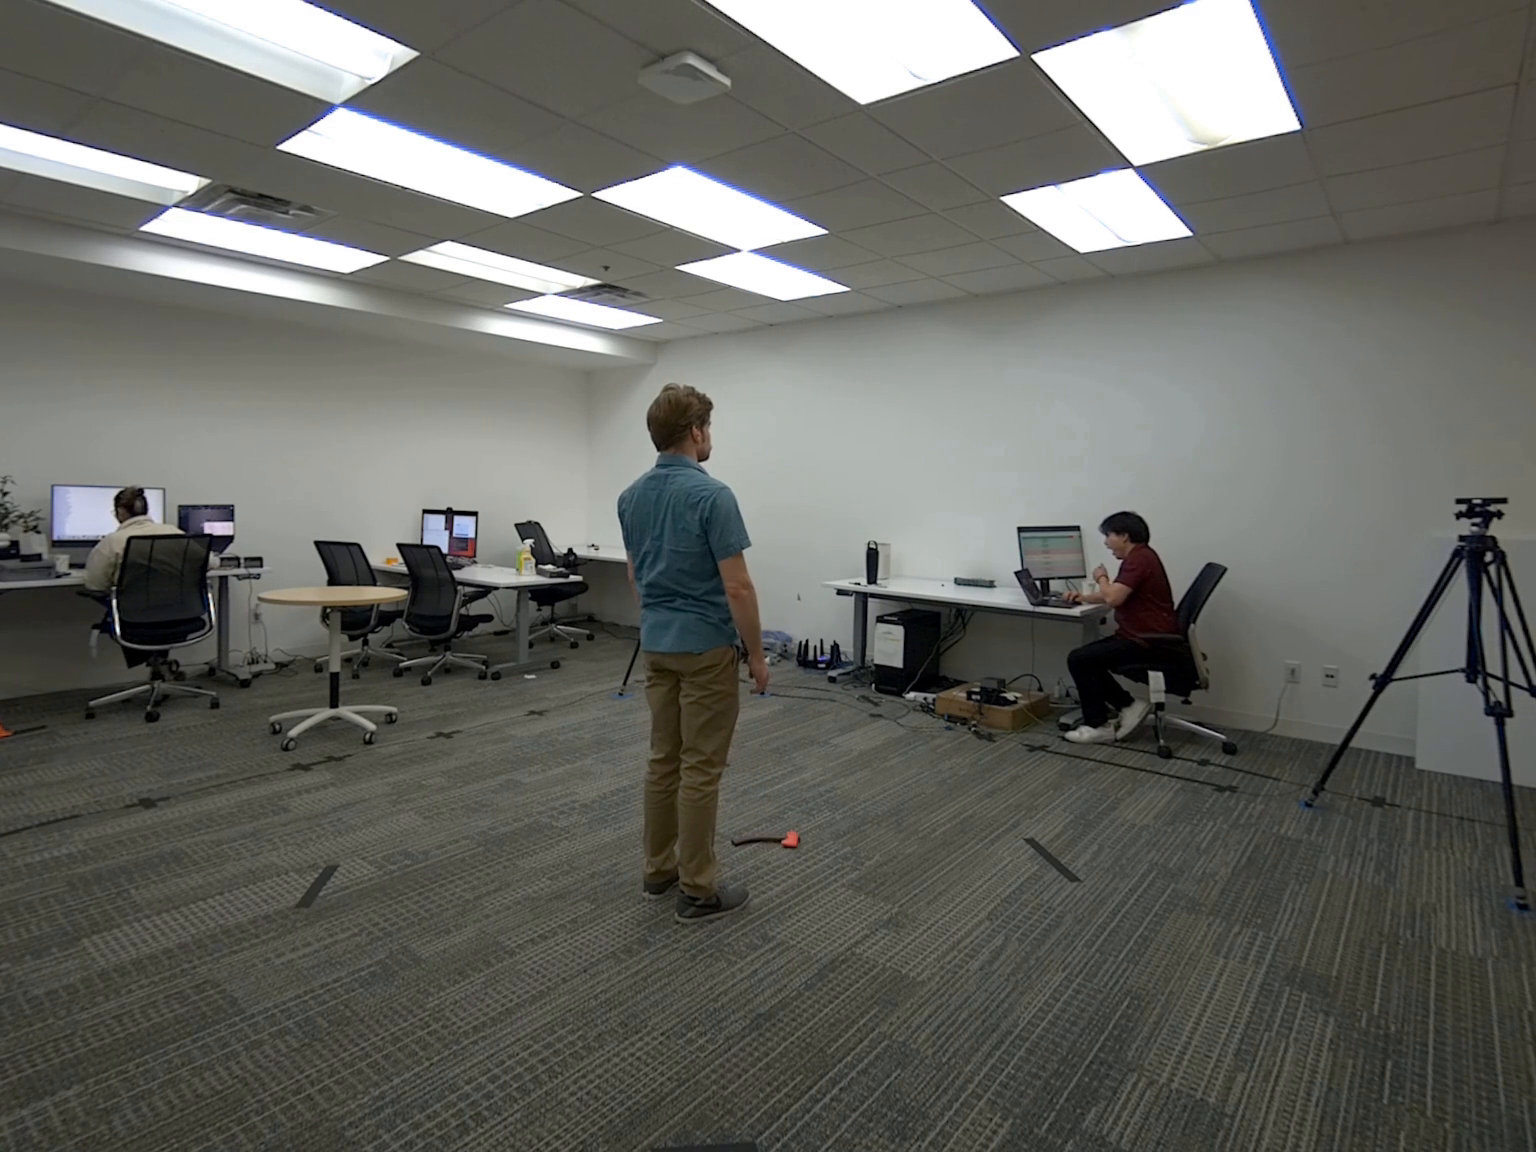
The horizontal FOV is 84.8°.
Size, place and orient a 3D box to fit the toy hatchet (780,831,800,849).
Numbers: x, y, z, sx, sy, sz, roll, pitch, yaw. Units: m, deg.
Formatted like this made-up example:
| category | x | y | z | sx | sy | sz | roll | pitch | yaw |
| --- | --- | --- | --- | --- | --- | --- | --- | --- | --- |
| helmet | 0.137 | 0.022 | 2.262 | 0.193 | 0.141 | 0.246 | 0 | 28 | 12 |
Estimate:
| category | x | y | z | sx | sy | sz | roll | pitch | yaw |
| --- | --- | --- | --- | --- | --- | --- | --- | --- | --- |
| toy hatchet | -0.005 | 1.043 | 3.328 | 0.264 | 0.029 | 0.135 | -4 | 9 | -22 |
